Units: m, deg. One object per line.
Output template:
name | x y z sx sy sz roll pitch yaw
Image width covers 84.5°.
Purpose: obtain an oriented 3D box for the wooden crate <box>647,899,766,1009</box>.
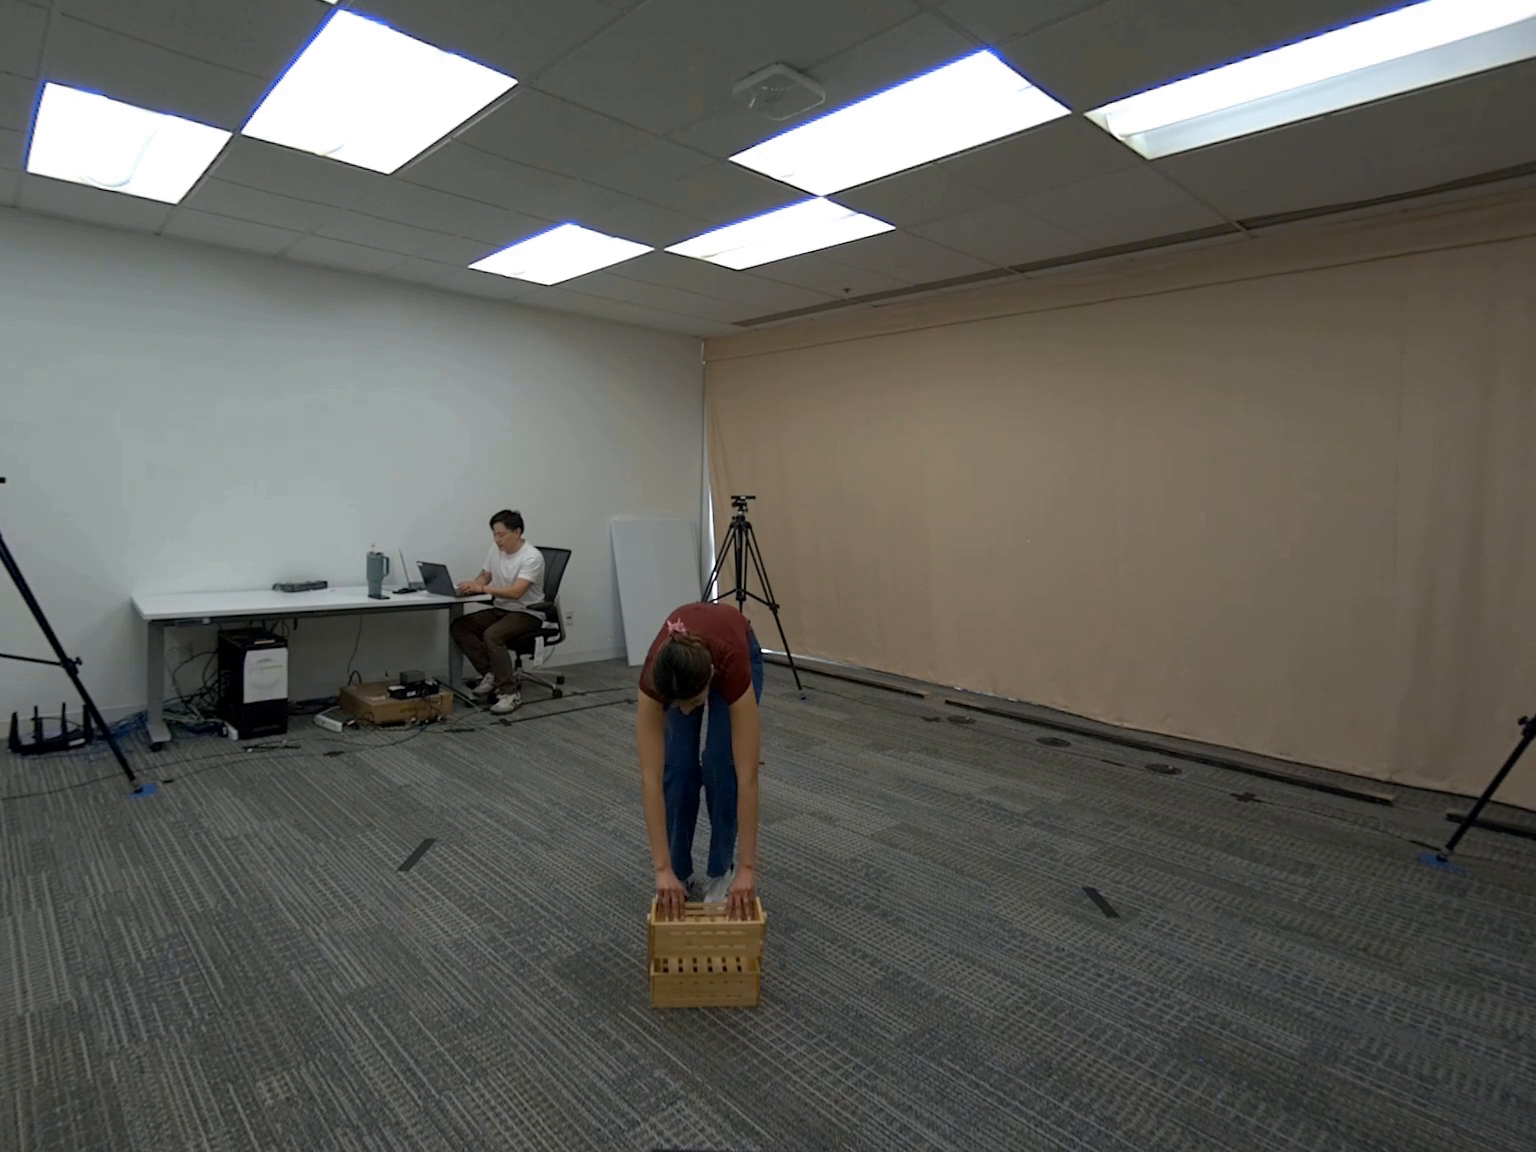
wooden crate | -0.187 1.035 2.385 0.323 0.272 0.304 1 5 -6
